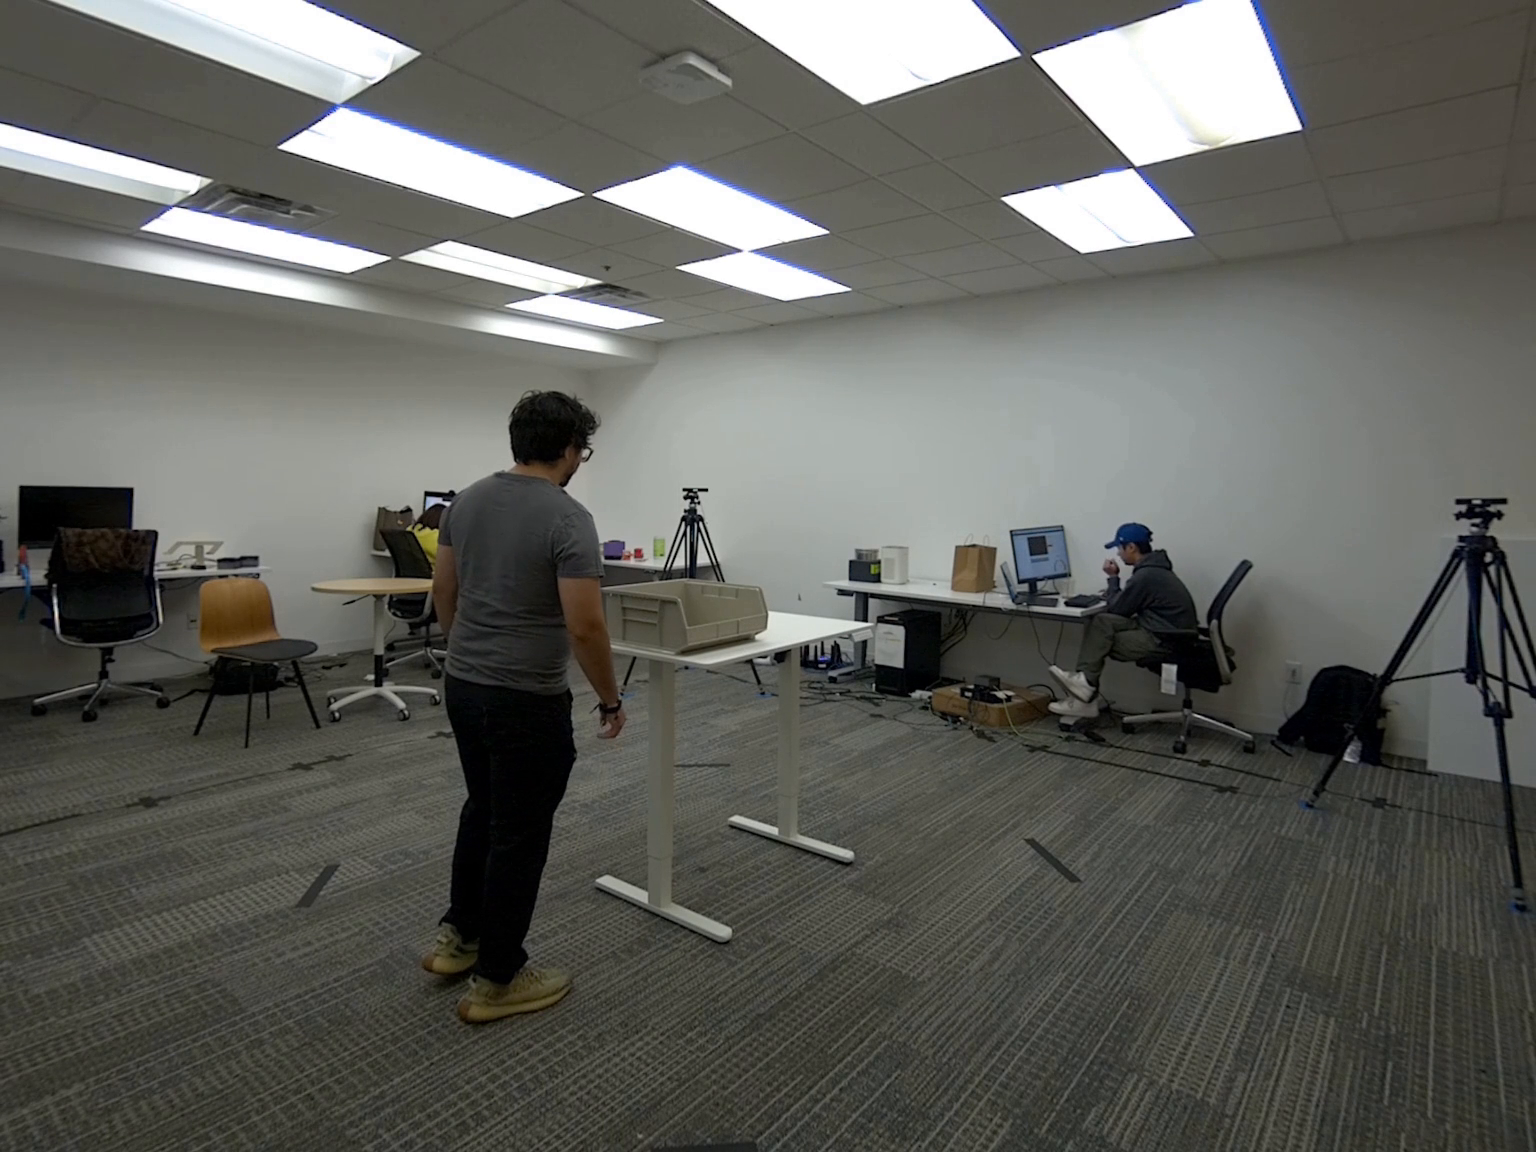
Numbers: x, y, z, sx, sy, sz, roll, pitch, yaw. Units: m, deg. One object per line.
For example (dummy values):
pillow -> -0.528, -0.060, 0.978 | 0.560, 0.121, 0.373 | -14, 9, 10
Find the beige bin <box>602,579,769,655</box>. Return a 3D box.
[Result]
beige bin -> -0.277, 0.128, 2.815 | 0.390, 0.188, 0.410 | 4, 7, 38
